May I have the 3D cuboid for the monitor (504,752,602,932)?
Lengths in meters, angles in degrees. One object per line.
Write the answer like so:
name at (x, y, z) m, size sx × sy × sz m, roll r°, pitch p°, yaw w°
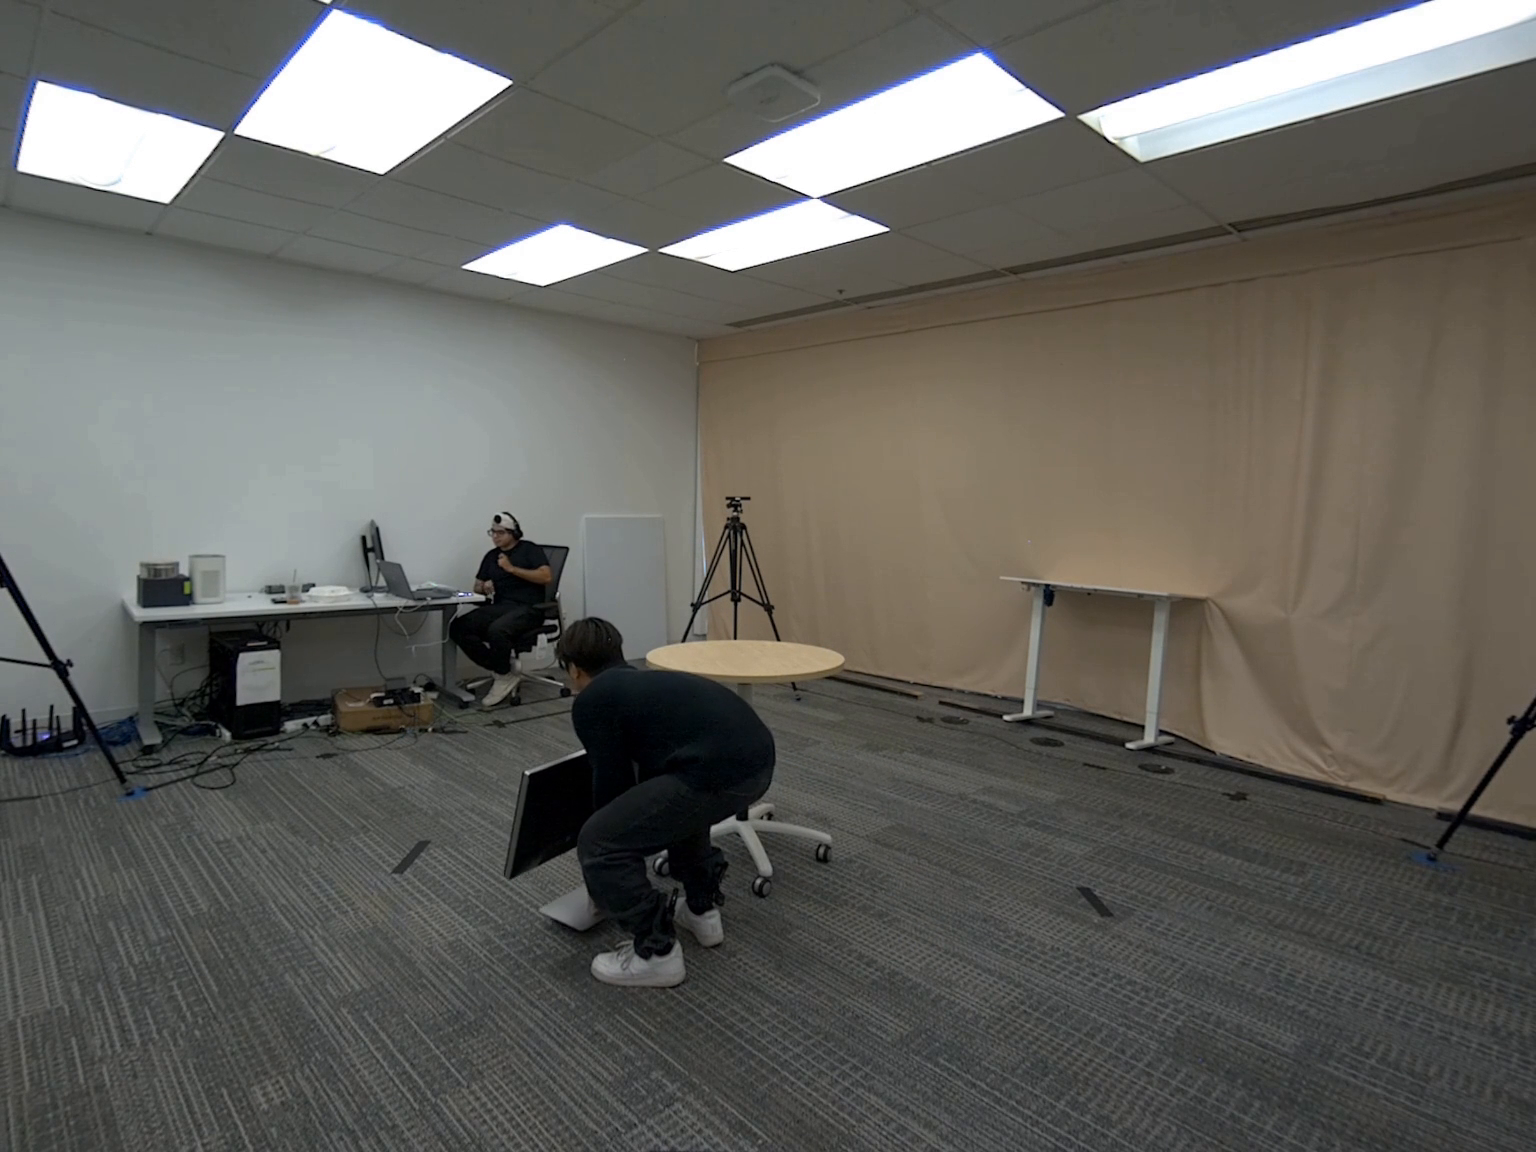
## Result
monitor at (-0.577, 0.818, 2.719) m, size 0.191 × 0.520 × 0.528 m, roll 6°, pitch 7°, yaw 33°
